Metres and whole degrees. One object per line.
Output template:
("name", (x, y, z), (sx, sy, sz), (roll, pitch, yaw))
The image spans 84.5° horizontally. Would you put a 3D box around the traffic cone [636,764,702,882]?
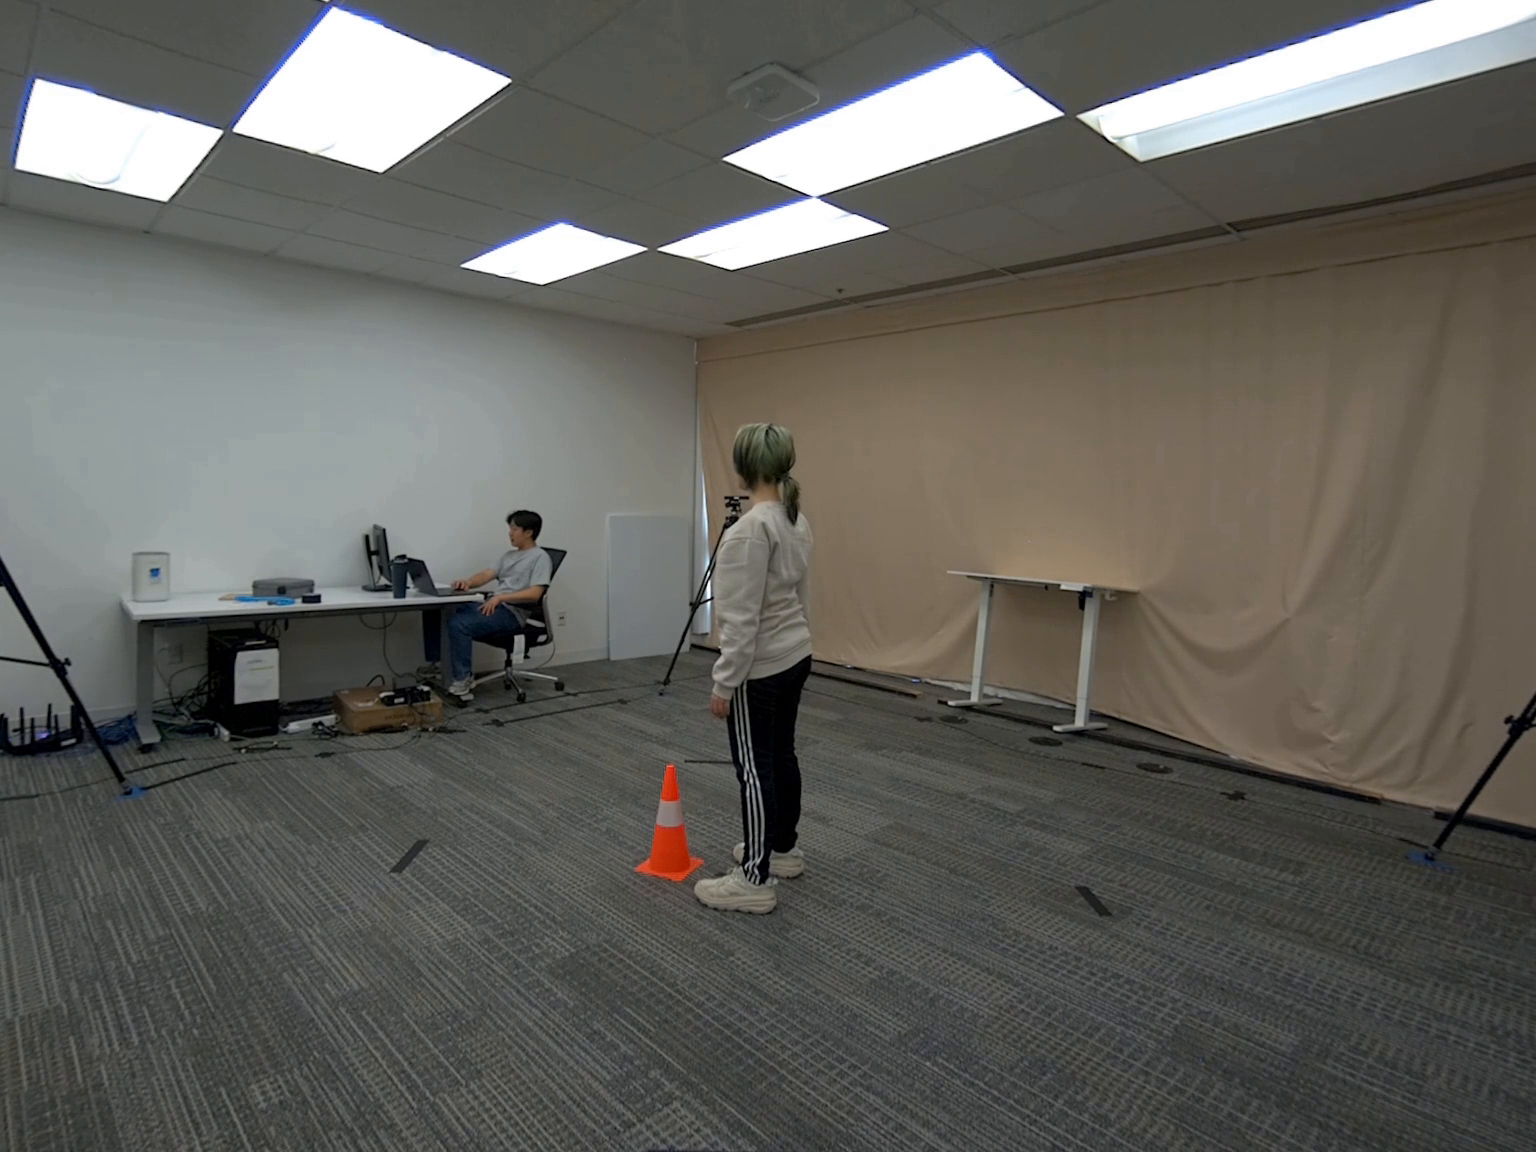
("traffic cone", (-0.368, 0.904, 3.168), (0.207, 0.383, 0.201), (3, 3, 25))
